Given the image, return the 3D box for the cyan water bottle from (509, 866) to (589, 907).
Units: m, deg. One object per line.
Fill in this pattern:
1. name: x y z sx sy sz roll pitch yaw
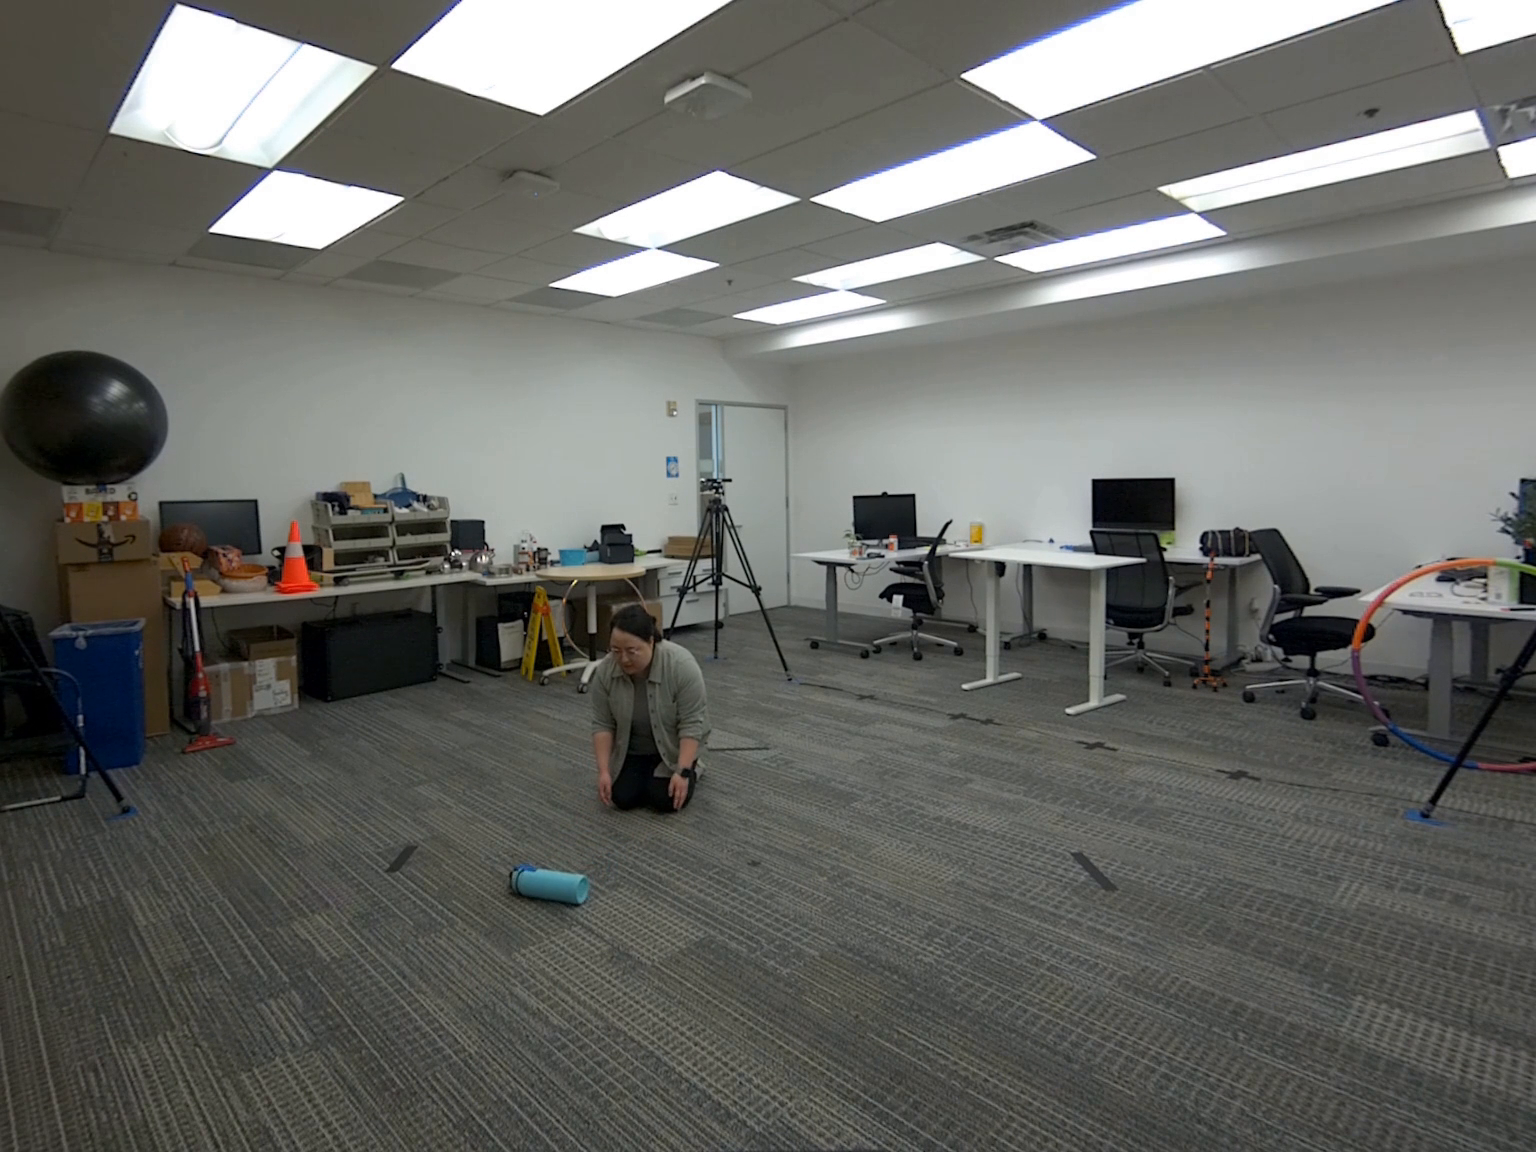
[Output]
1. cyan water bottle: -0.751 1.041 2.883 0.289 0.092 0.091 1 5 19
